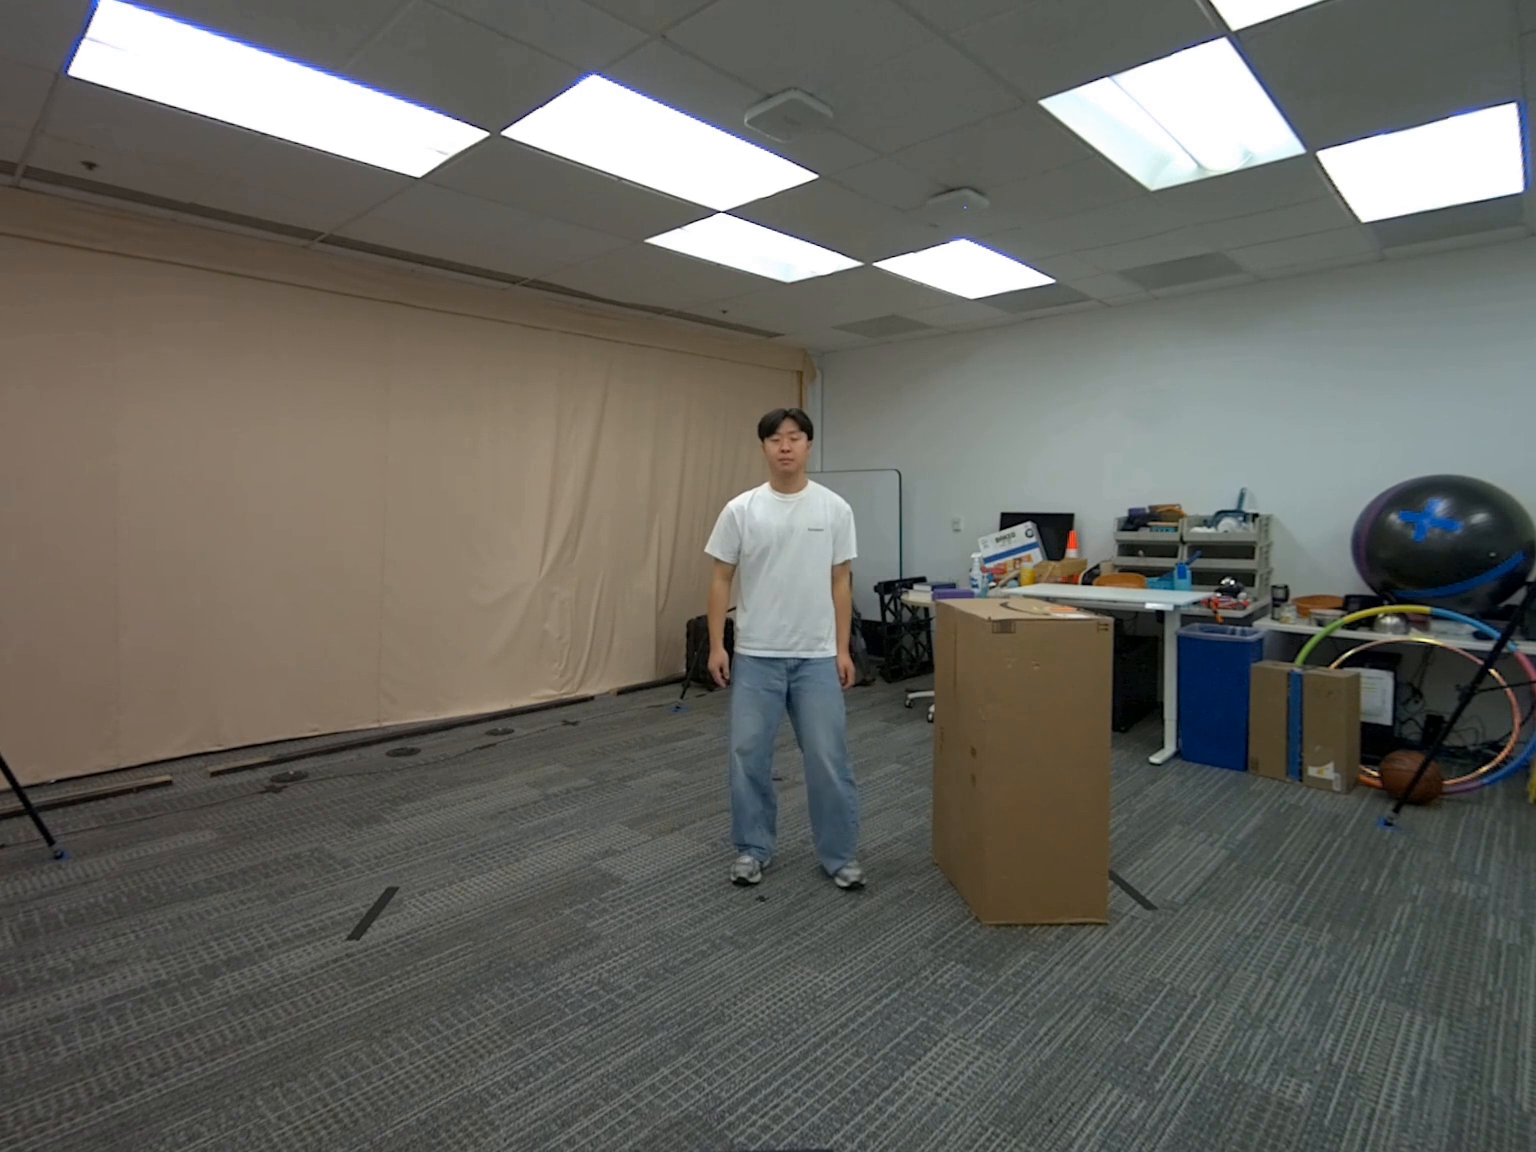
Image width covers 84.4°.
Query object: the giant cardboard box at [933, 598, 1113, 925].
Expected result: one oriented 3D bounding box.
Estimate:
[{"bbox_3d":[0.899,0.627,3.047,0.424,1.024,0.581,0,3,-5],"label":"giant cardboard box"}]
